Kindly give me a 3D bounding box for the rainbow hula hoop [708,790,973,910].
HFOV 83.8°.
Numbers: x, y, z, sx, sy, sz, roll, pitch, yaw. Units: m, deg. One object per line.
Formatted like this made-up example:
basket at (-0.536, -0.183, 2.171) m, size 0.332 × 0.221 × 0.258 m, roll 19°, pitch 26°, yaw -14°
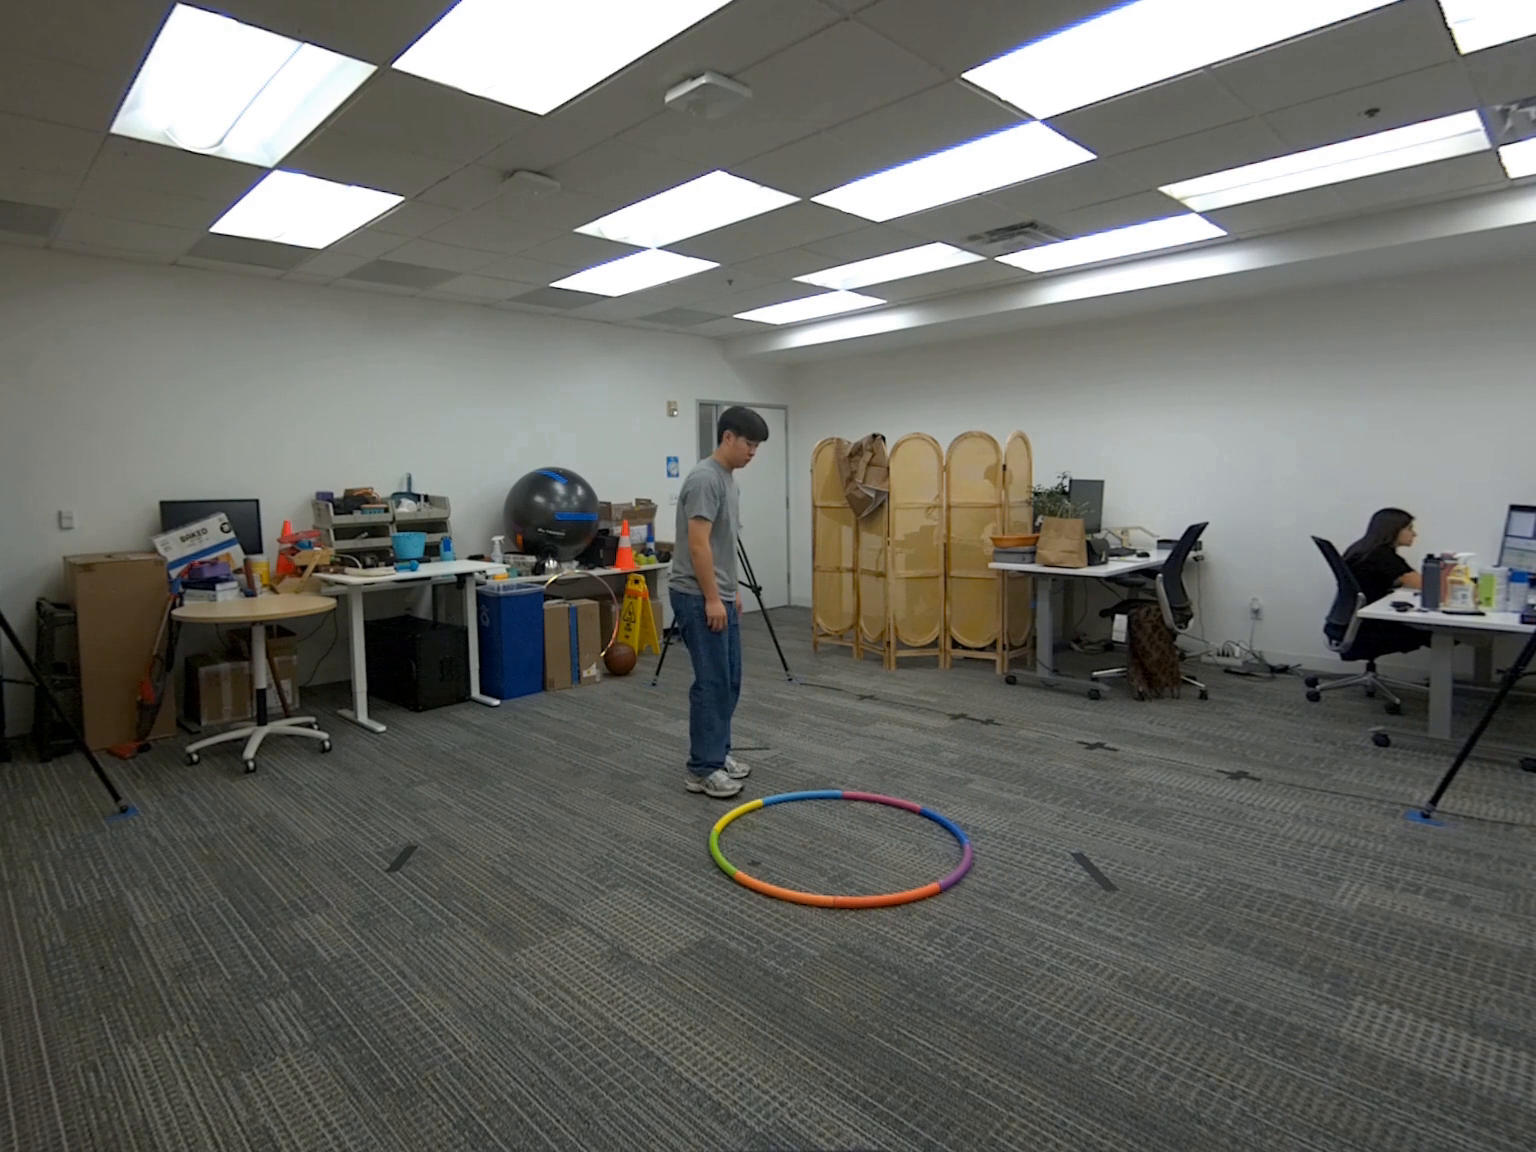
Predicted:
rainbow hula hoop at (0.258, 0.994, 3.246) m, size 0.978 × 0.035 × 0.984 m, roll -1°, pitch 7°, yaw -2°
